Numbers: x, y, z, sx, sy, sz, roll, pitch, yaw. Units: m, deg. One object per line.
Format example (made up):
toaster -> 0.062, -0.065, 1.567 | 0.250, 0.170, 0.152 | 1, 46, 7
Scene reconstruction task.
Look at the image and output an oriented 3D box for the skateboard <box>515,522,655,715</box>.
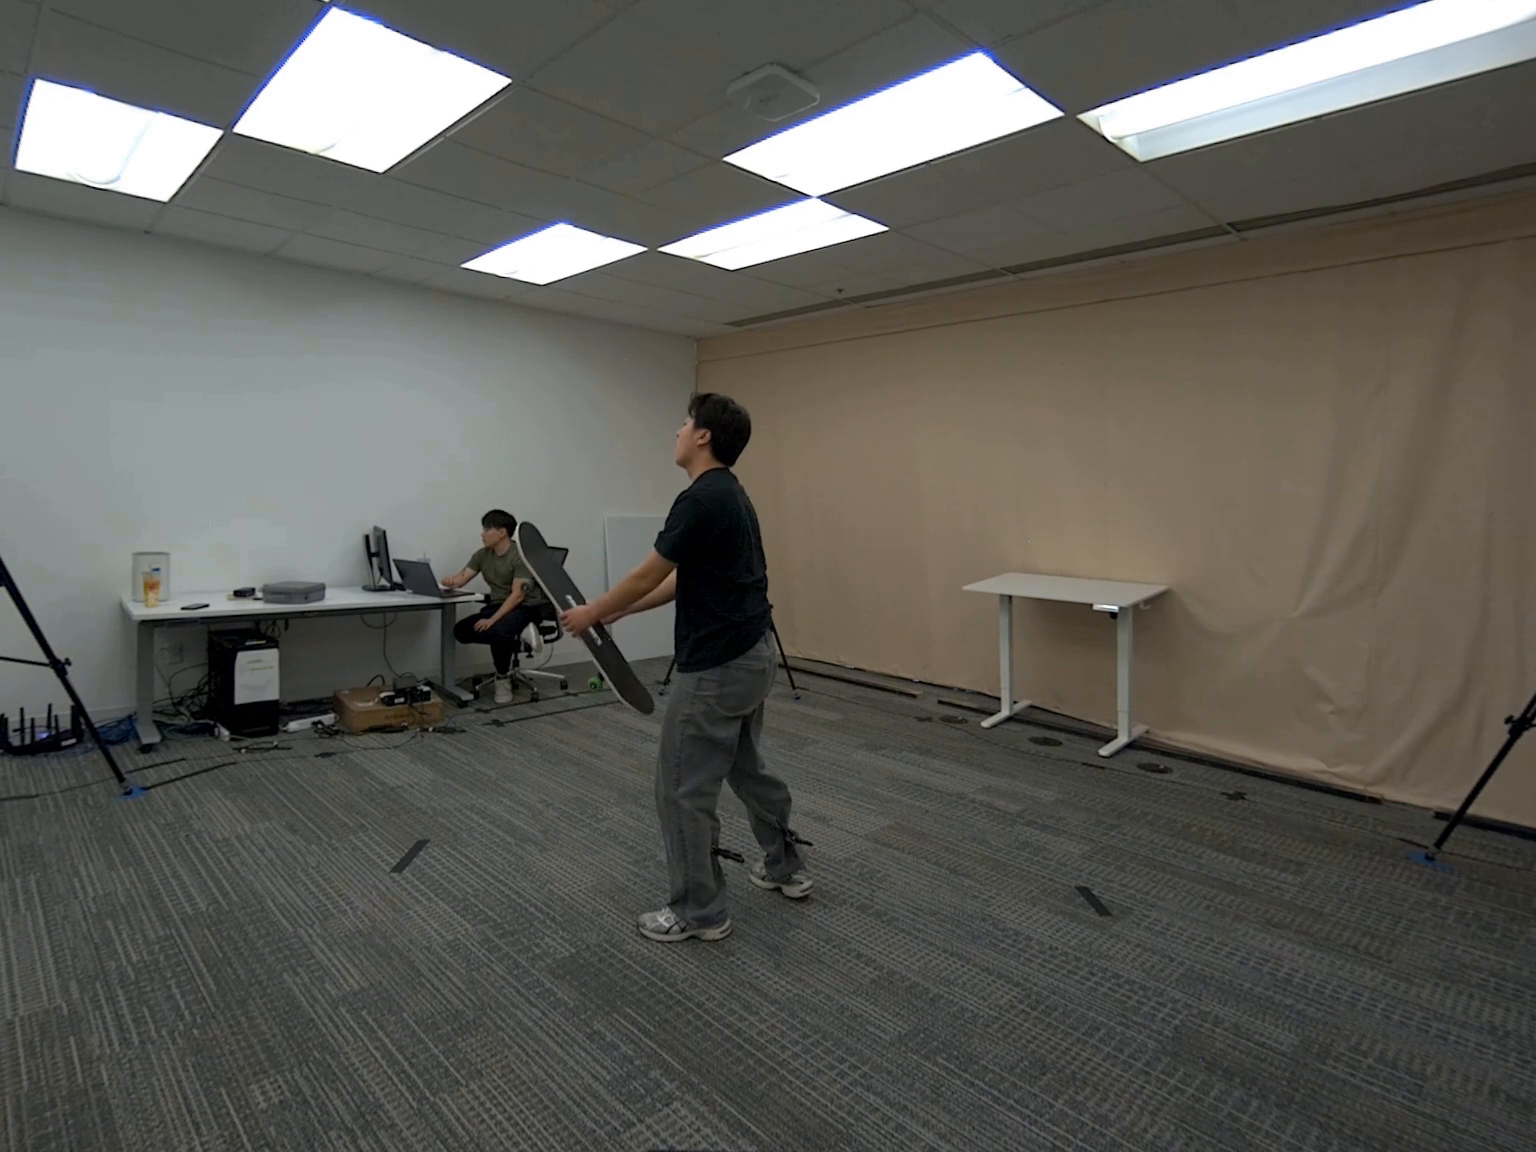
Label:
skateboard -> -0.660, 0.180, 2.887 | 0.111, 0.784, 0.193 | -34, 2, 14
